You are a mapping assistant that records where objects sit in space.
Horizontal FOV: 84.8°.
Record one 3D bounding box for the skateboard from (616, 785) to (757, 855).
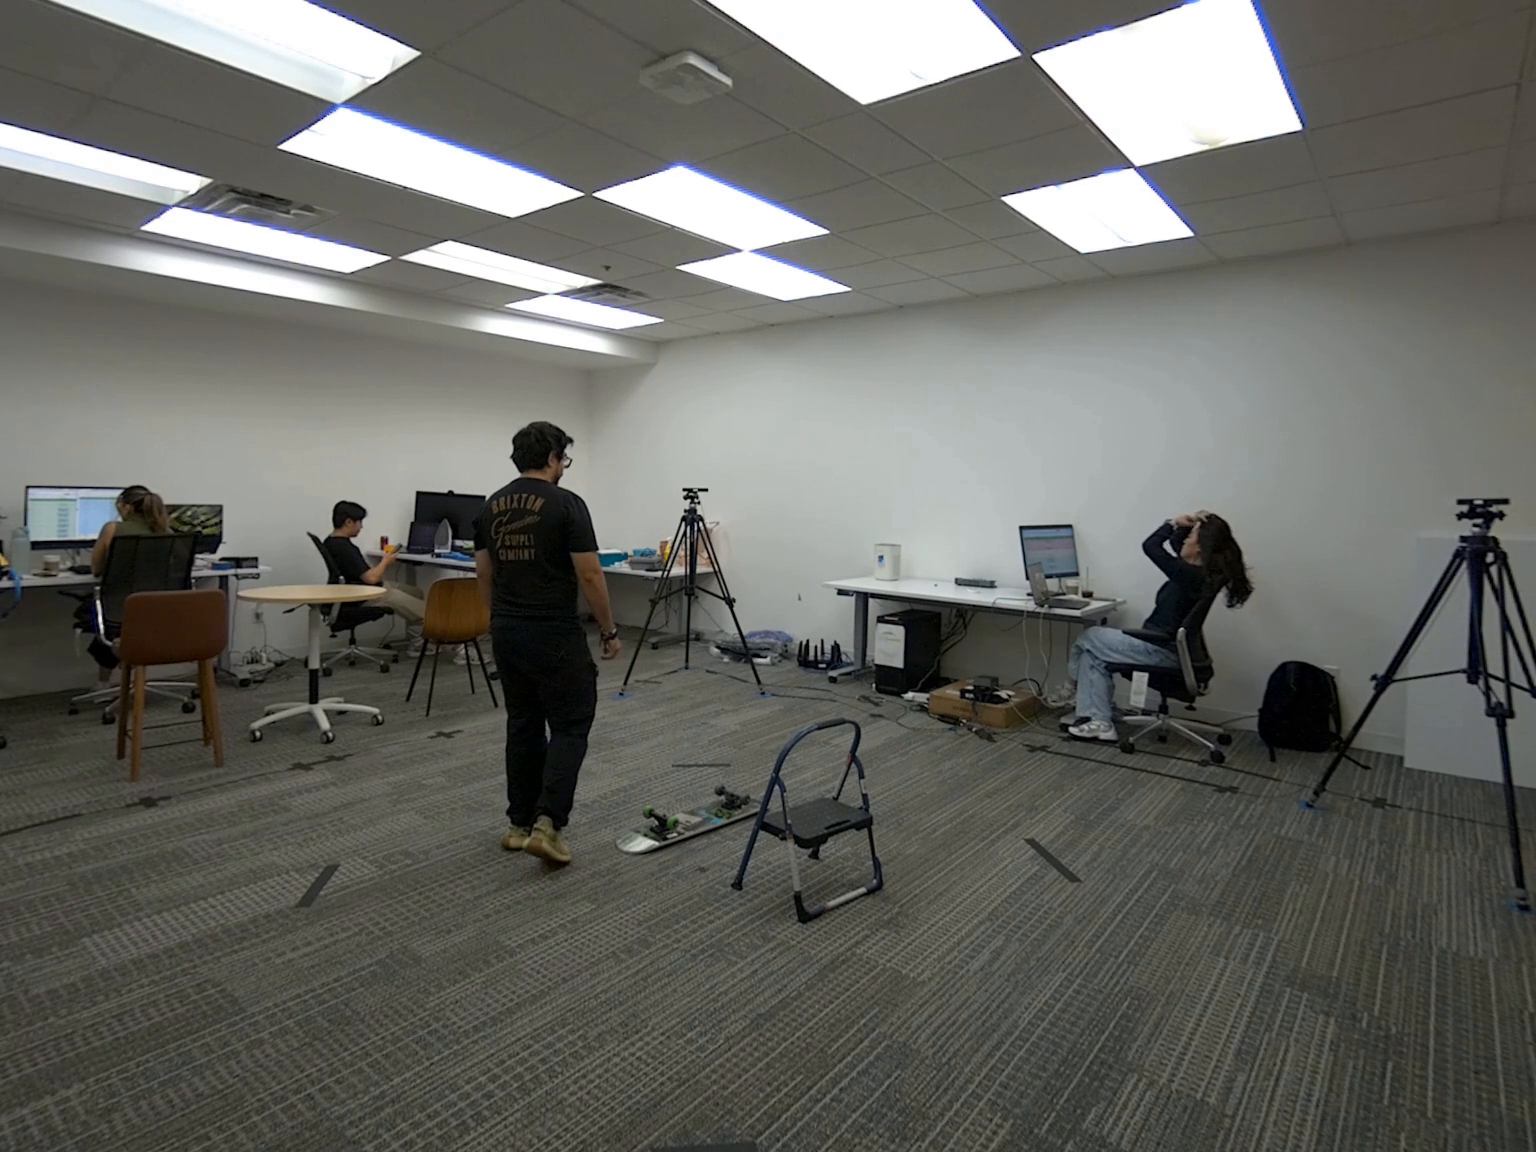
[{"bbox_3d":[-0.301,0.981,3.519,0.200,0.110,0.762,6,8,45],"label":"skateboard"}]
